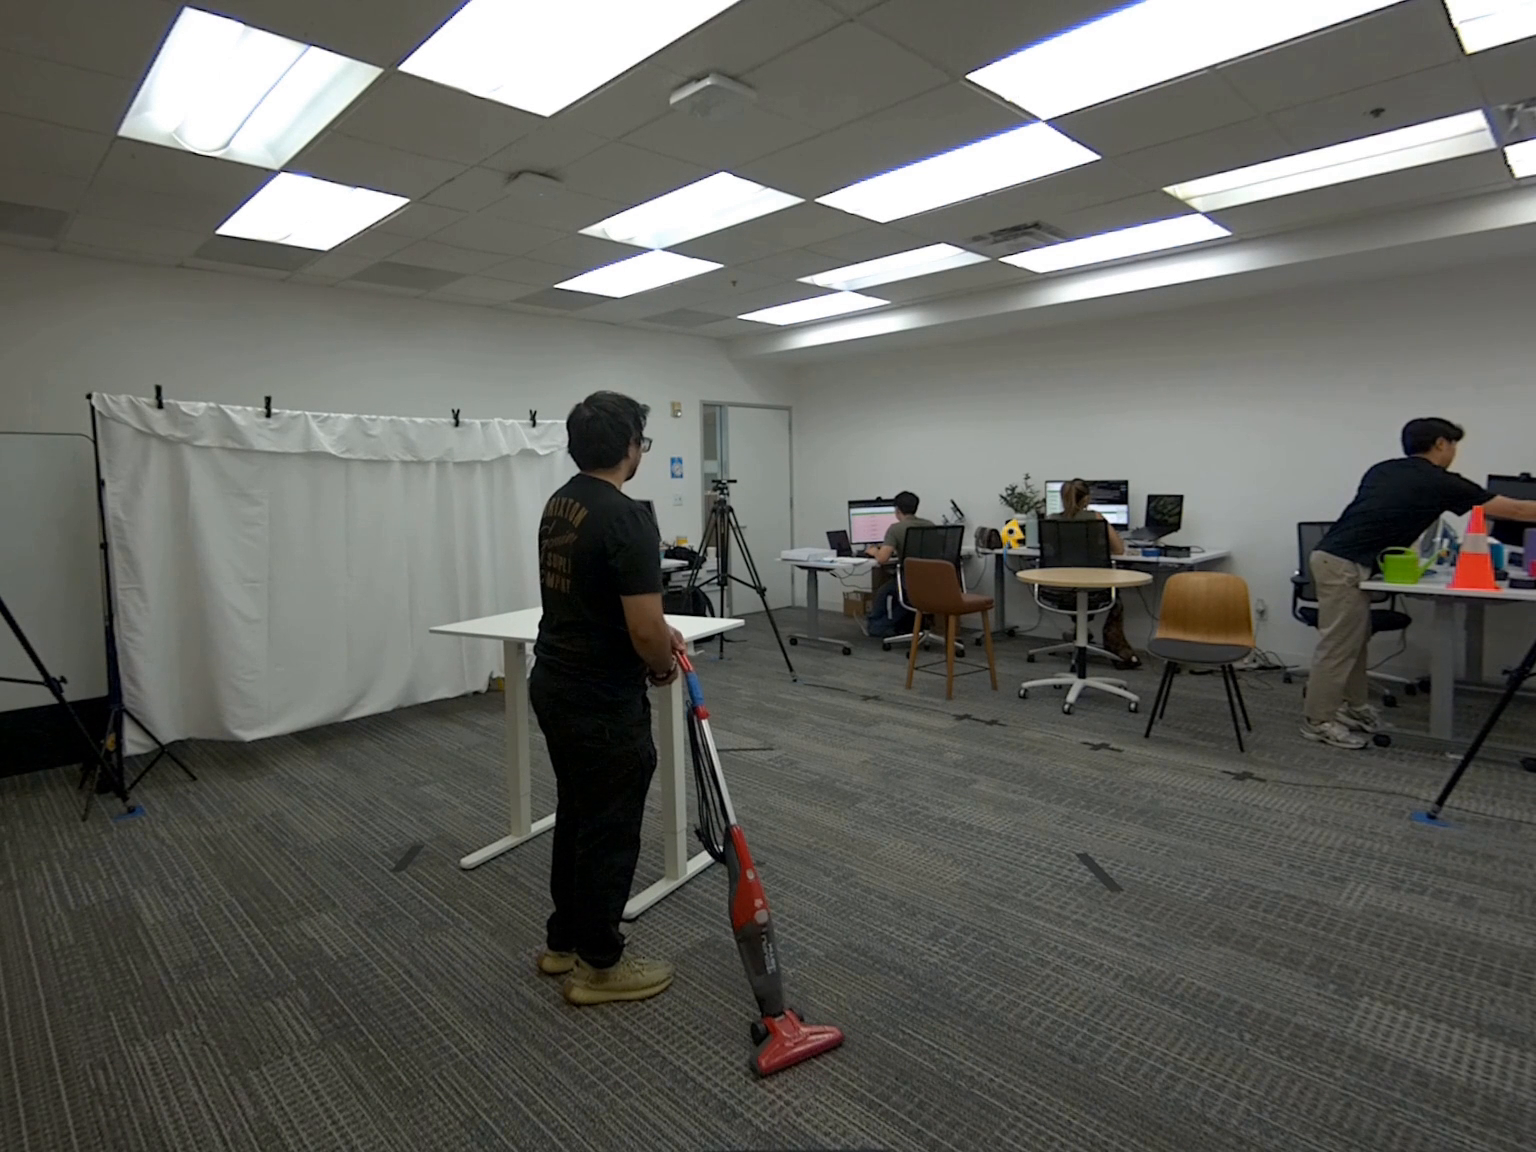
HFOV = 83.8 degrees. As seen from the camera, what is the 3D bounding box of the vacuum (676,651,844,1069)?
[{"bbox_3d":[-0.113,0.684,2.337,0.245,1.078,0.144,1,-32,-40],"label":"vacuum"}]
